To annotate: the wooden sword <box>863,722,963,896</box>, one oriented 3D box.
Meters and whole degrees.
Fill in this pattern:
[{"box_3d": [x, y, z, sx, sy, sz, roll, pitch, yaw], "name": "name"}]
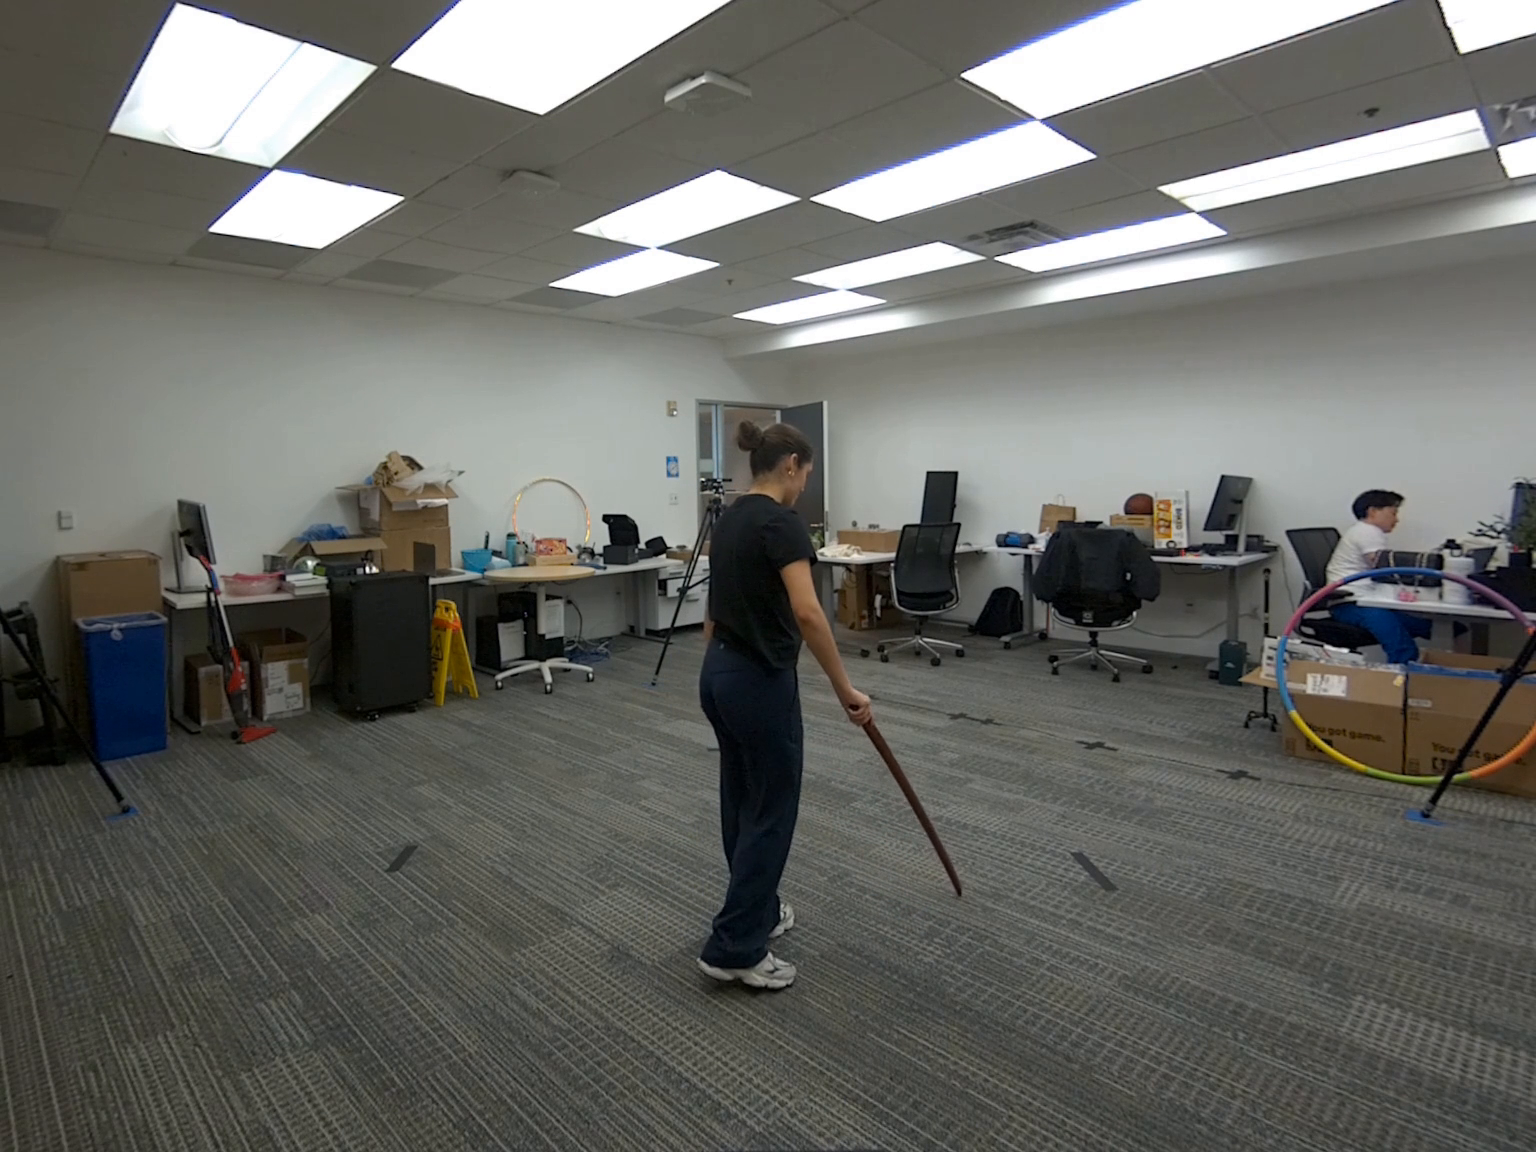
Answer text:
[{"box_3d": [0.441, 0.687, 2.594, 0.052, 0.990, 0.024, -5, 40, 33], "name": "wooden sword"}]
